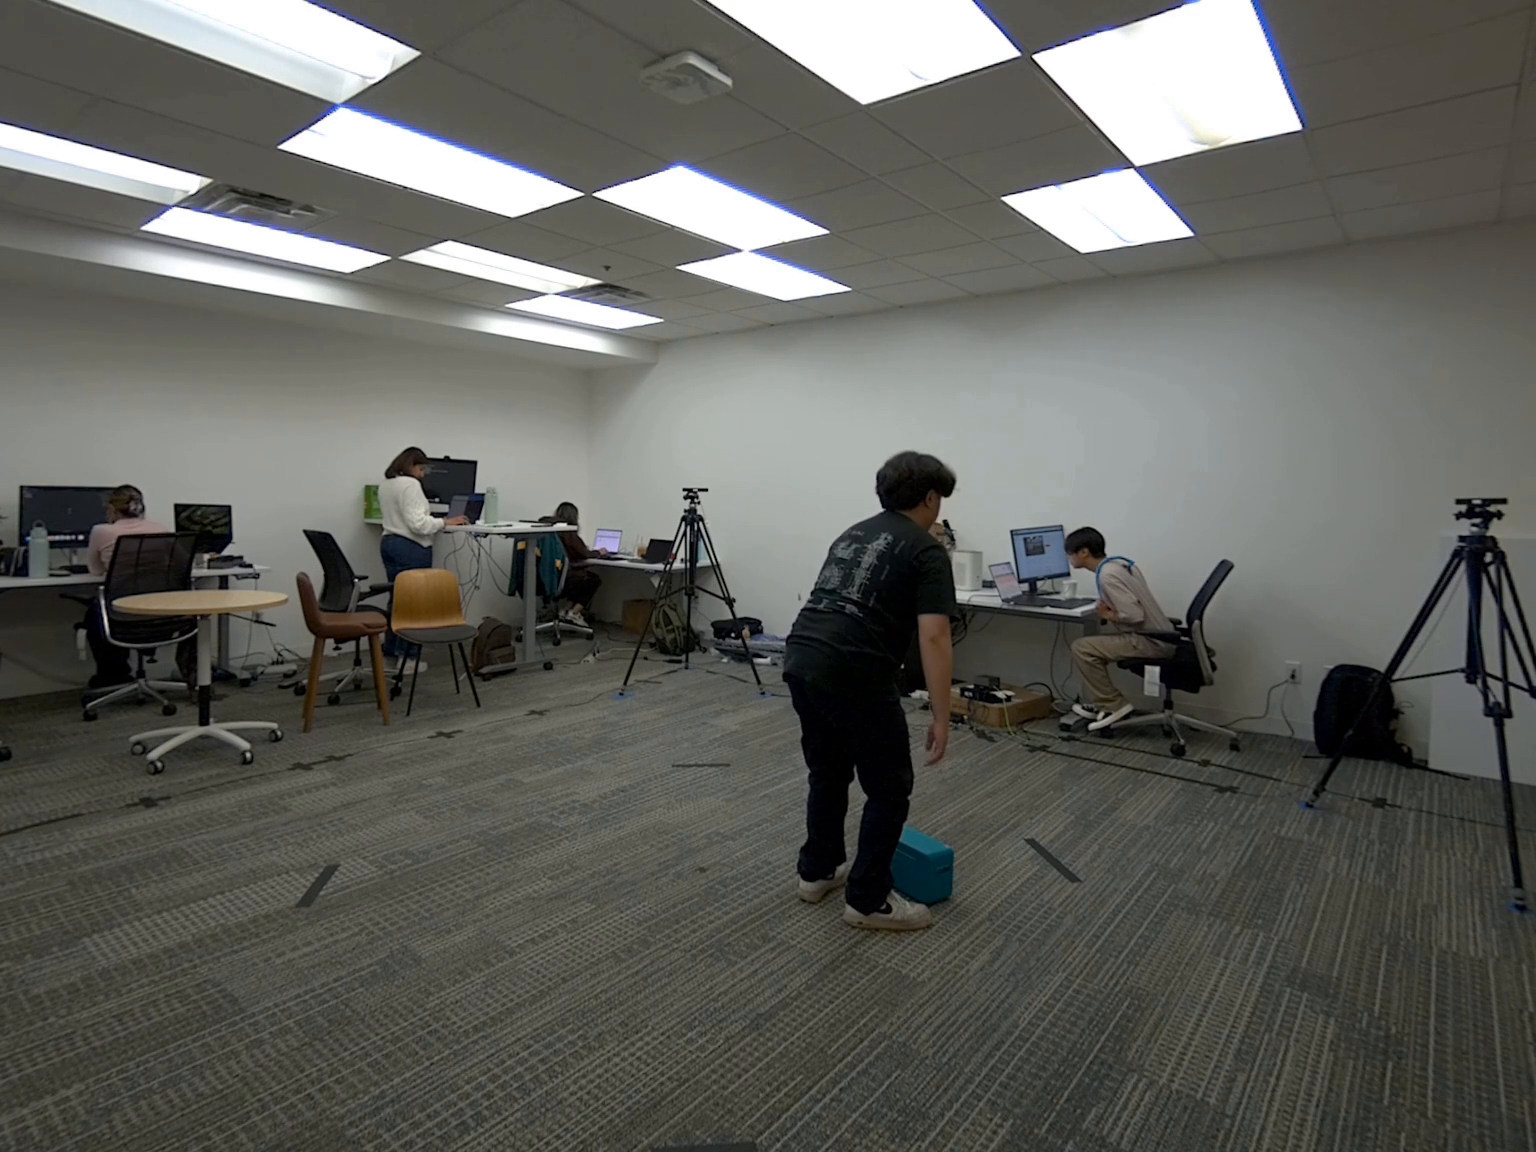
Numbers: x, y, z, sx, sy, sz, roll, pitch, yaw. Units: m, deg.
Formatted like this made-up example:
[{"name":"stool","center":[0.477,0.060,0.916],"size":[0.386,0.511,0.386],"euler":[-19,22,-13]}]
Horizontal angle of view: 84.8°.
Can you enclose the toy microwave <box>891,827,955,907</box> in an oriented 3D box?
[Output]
[{"name":"toy microwave","center":[0.501,1.006,2.996],"size":[0.148,0.183,0.296],"euler":[-1,6,-38]}]
